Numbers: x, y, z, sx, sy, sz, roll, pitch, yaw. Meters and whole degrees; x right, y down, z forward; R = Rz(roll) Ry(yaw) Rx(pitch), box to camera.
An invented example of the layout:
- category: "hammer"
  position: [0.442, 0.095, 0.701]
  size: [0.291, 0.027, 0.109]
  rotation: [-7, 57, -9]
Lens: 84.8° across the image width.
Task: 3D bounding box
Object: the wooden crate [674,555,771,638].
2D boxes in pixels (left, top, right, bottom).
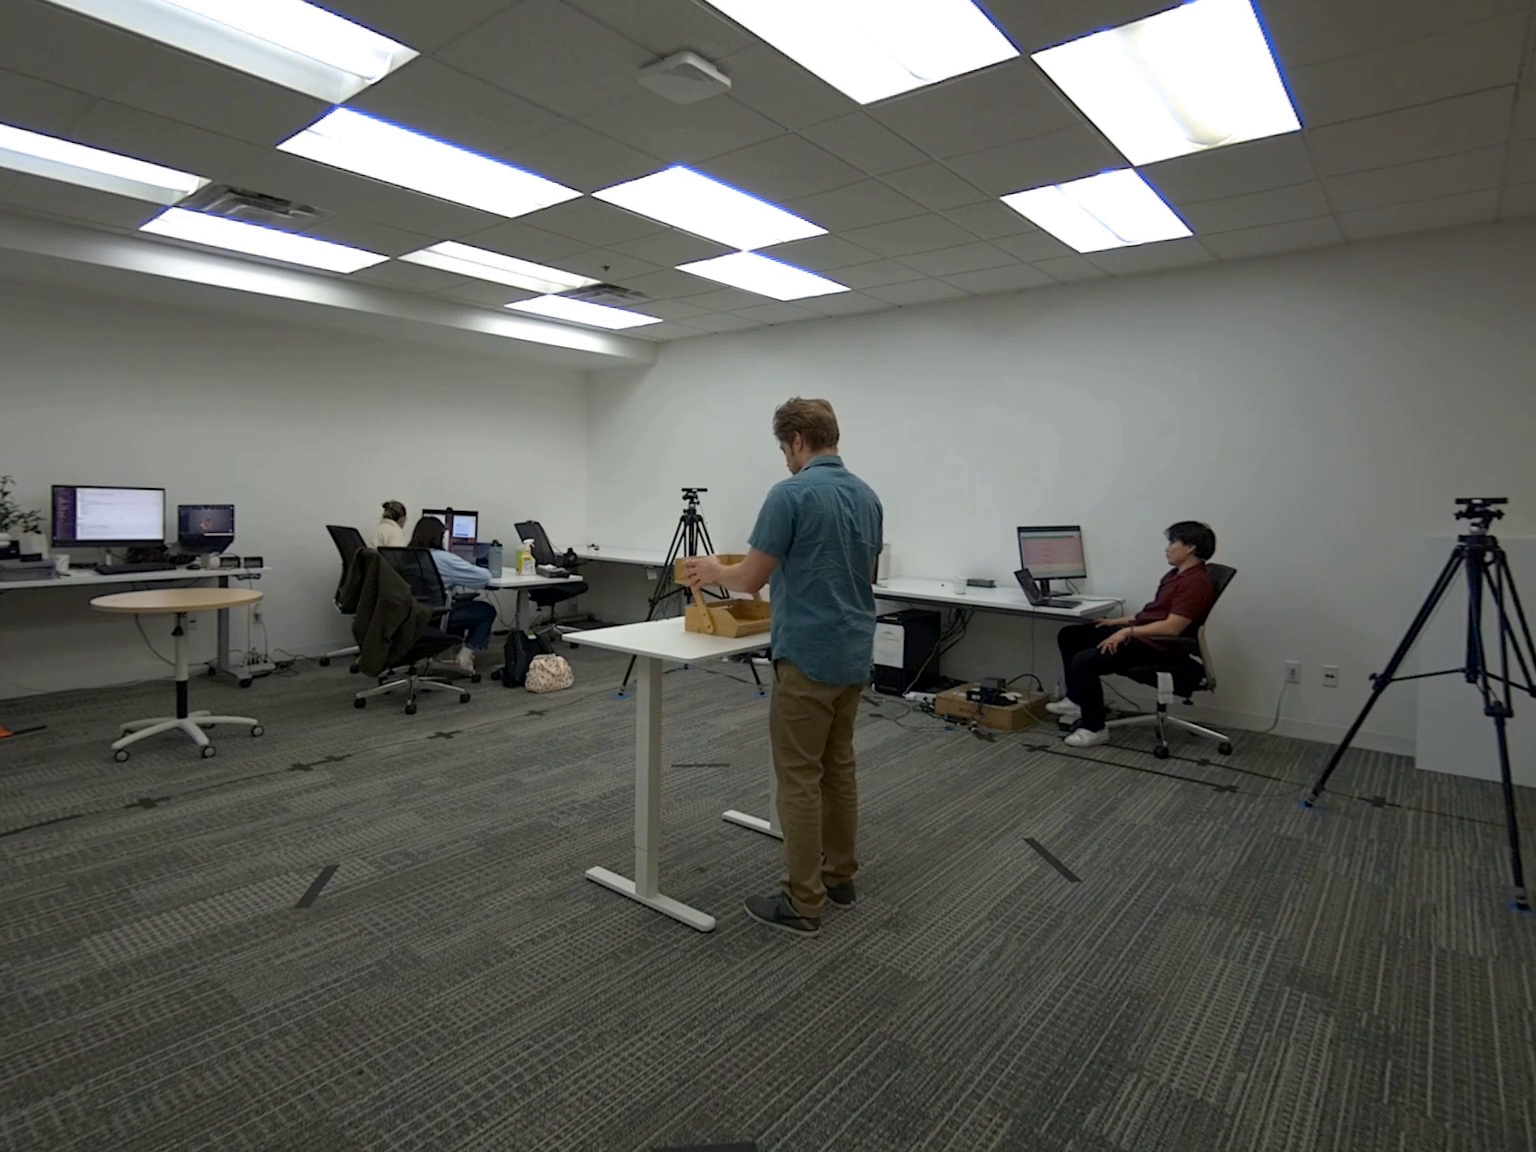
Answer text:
- category: "wooden crate"
  position: [-0.132, 0.059, 3.084]
  size: [0.312, 0.272, 0.315]
  rotation: [3, 5, 39]
